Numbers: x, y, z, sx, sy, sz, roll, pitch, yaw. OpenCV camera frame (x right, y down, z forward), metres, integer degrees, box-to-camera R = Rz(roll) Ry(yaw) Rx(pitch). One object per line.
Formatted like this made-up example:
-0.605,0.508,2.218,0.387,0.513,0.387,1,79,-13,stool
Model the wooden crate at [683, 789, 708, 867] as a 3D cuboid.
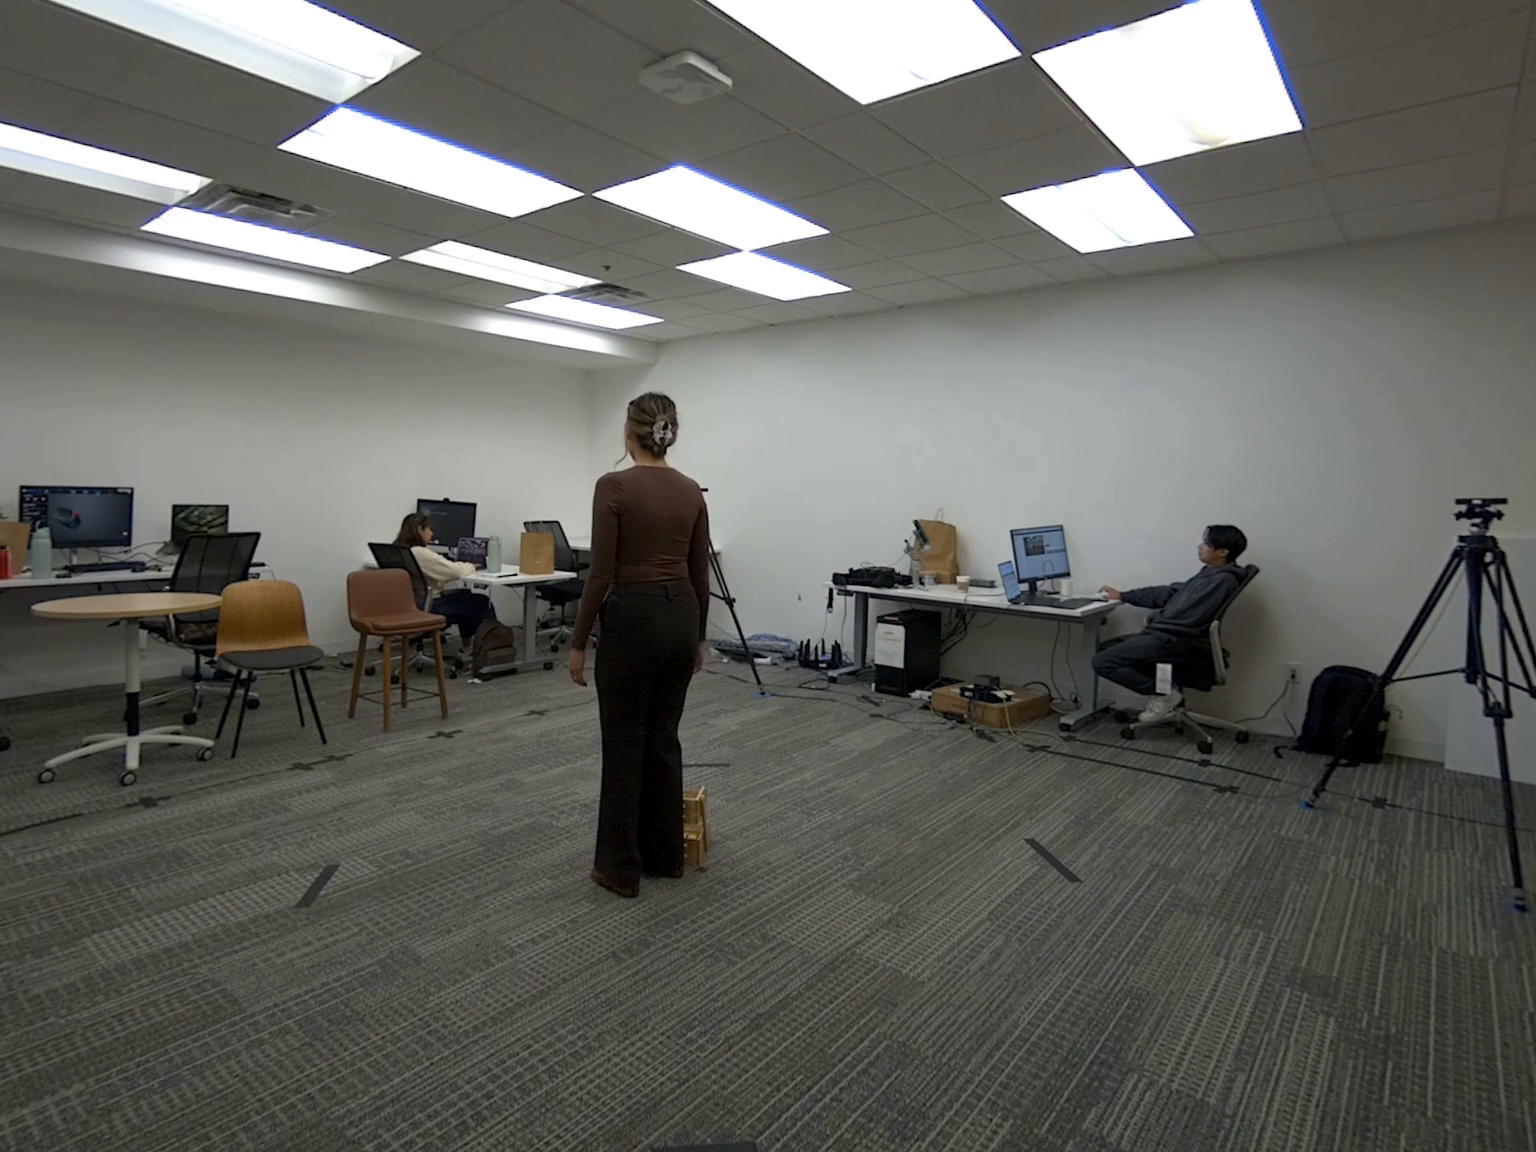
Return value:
-0.399,0.913,3.269,0.327,0.272,0.300,1,4,7,wooden crate
